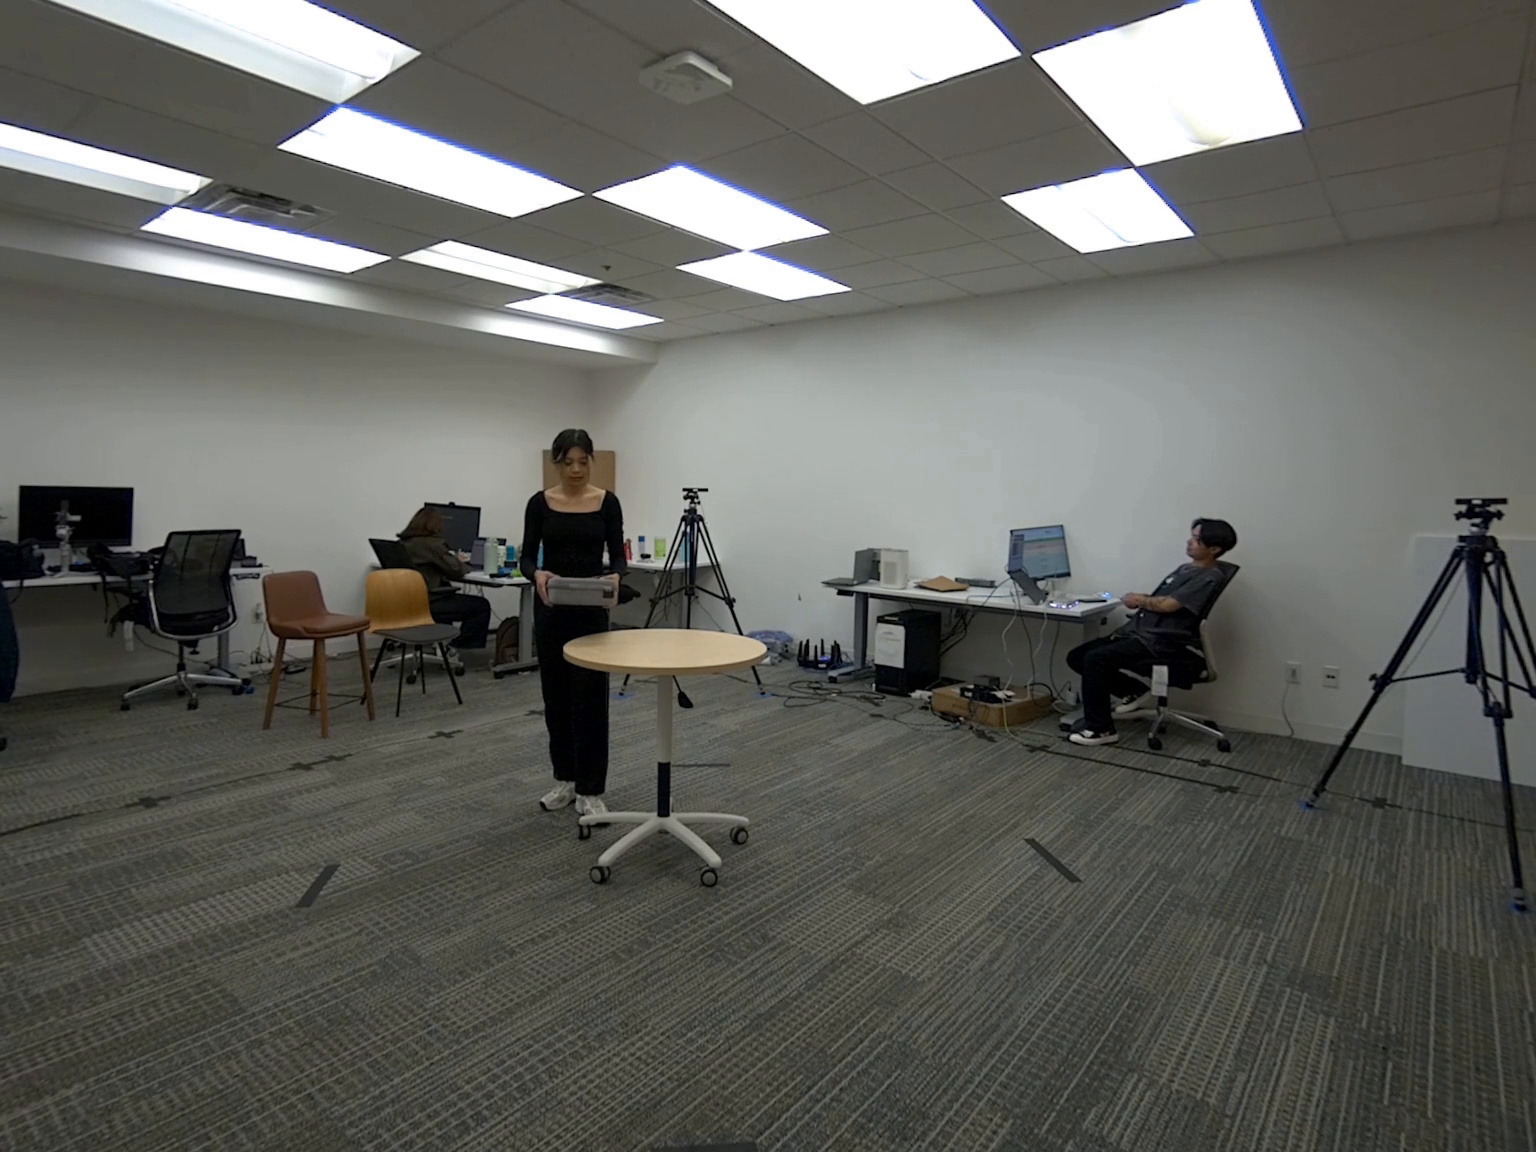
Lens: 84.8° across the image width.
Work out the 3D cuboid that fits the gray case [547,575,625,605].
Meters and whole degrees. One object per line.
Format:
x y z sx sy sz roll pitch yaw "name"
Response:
-0.748 0.052 3.395 0.250 0.104 0.267 0 1 -27 "gray case"
